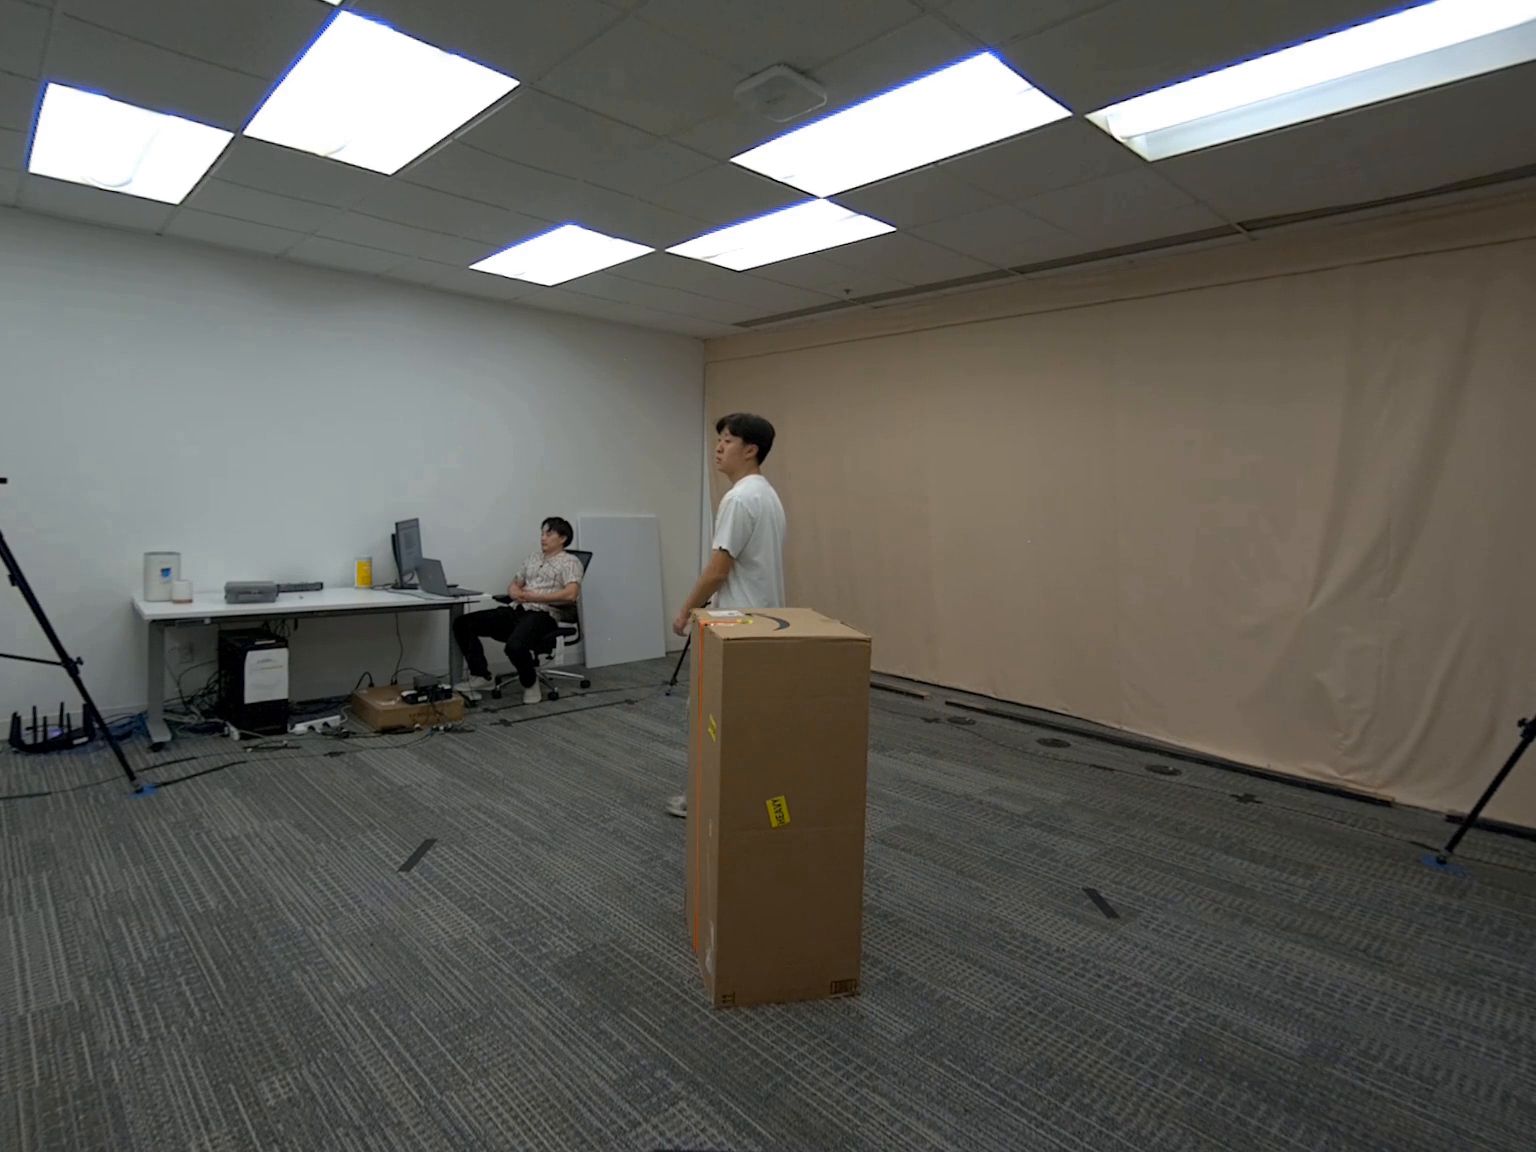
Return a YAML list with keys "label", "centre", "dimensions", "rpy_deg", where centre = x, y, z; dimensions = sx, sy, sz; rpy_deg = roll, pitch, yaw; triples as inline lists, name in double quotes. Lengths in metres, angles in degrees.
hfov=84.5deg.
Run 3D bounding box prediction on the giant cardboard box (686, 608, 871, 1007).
- label: "giant cardboard box"
  centre: [-0.002, 0.648, 2.580]
  dimensions: [0.422, 1.023, 0.585]
  rpy_deg: [1, 4, -14]
